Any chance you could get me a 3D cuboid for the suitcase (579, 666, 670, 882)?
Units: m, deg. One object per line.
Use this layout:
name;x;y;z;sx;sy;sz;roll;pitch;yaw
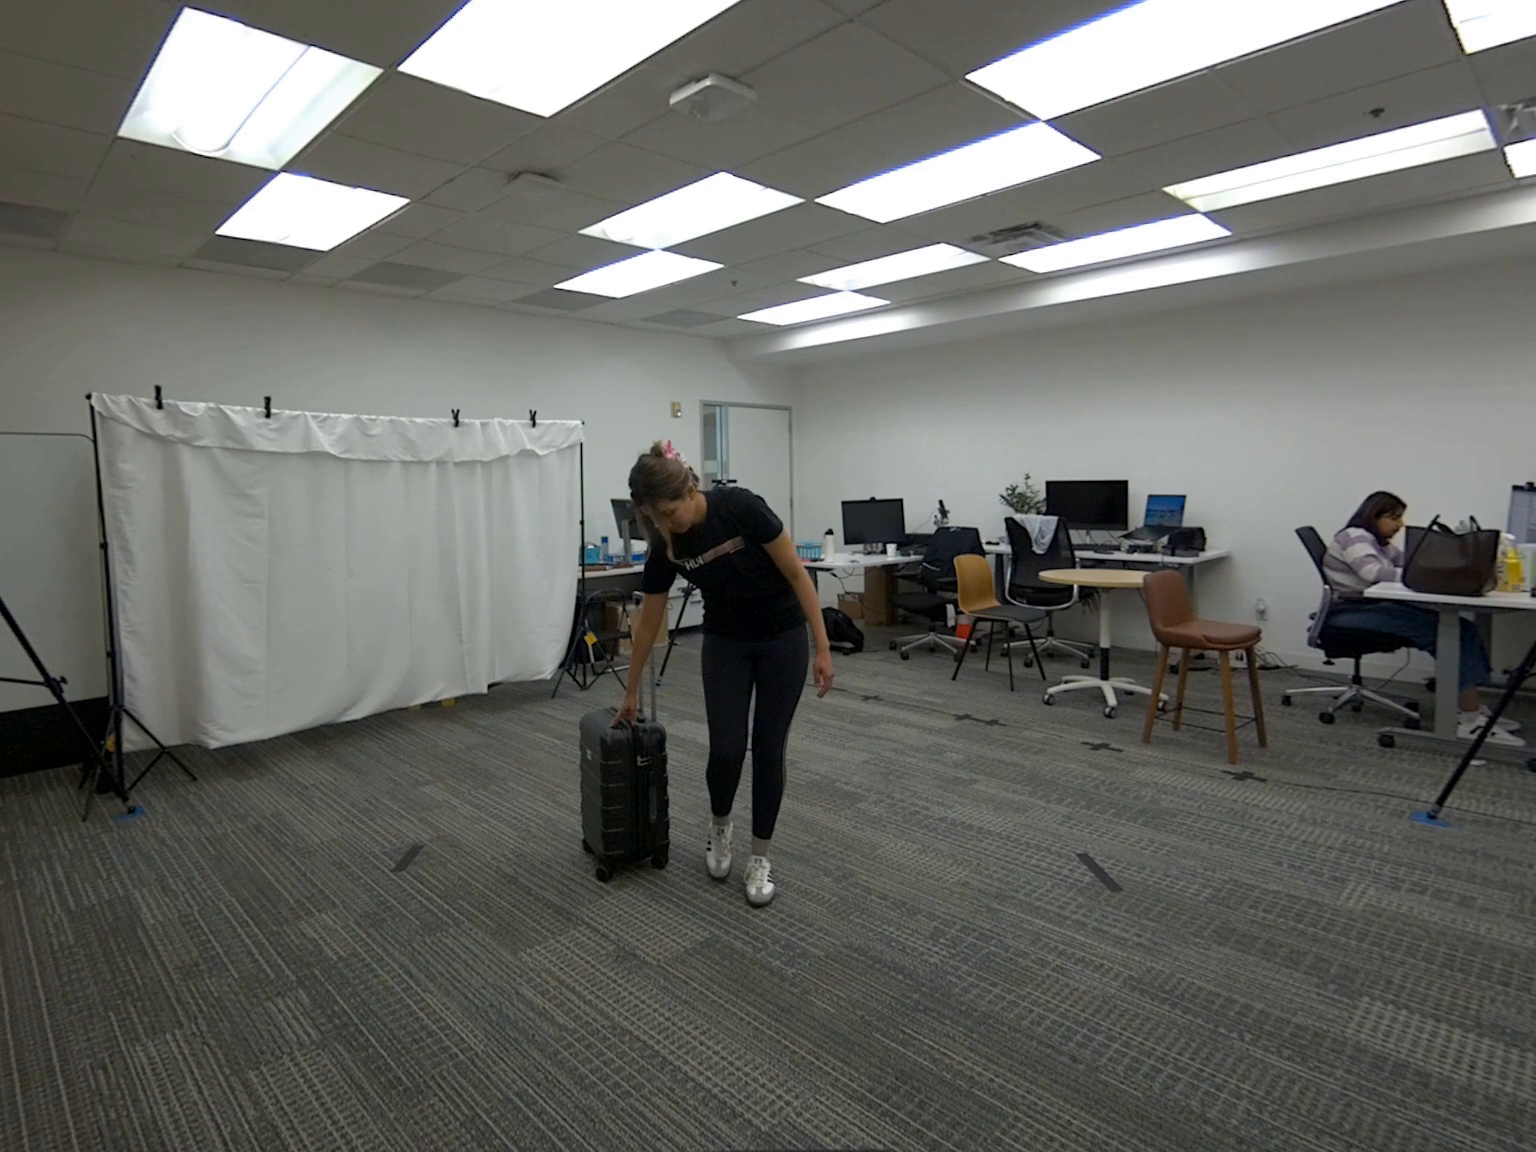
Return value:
suitcase;-0.546;0.577;3.144;0.252;0.975;0.393;-4;5;-24
